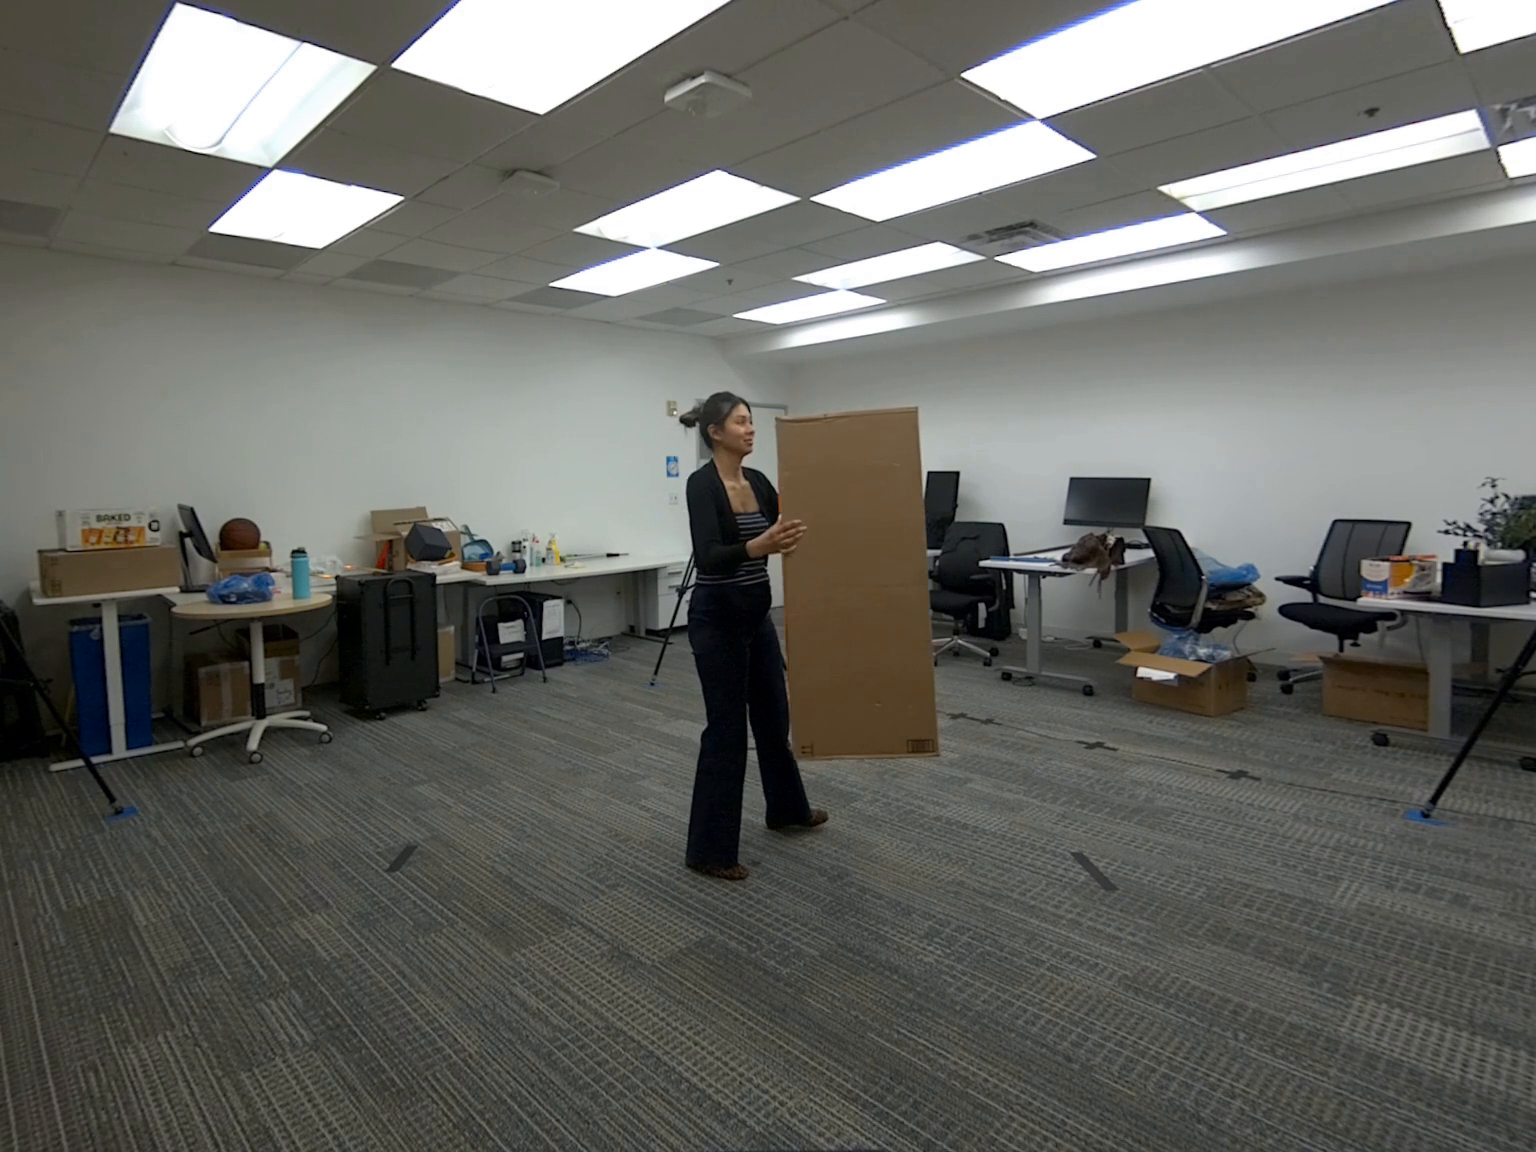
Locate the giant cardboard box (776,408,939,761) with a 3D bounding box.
[{"bbox_3d":[0.276,0.017,2.797,0.428,1.027,0.574,-3,-1,4],"label":"giant cardboard box"}]
